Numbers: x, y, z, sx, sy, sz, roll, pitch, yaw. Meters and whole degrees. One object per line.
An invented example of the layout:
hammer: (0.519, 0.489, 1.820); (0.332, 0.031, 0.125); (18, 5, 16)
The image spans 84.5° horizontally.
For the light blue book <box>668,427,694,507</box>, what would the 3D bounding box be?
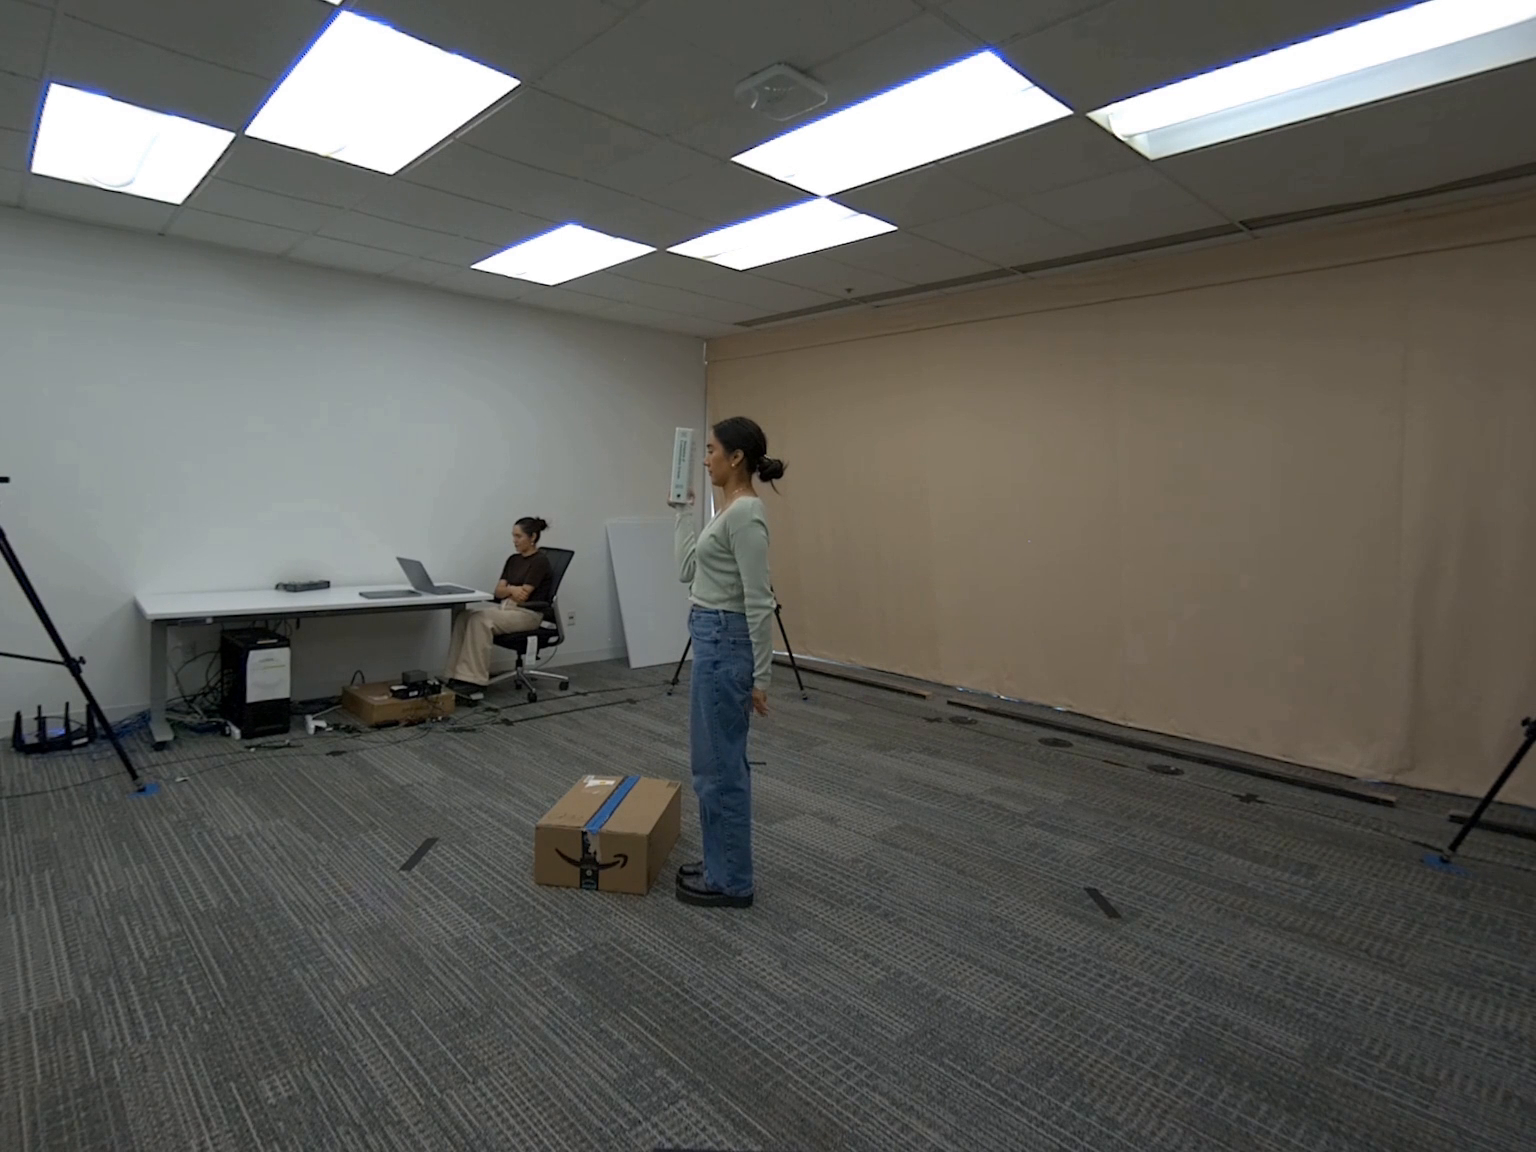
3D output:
light blue book: (-0.310, -0.403, 3.048); (0.059, 0.259, 0.192); (5, 9, -2)
